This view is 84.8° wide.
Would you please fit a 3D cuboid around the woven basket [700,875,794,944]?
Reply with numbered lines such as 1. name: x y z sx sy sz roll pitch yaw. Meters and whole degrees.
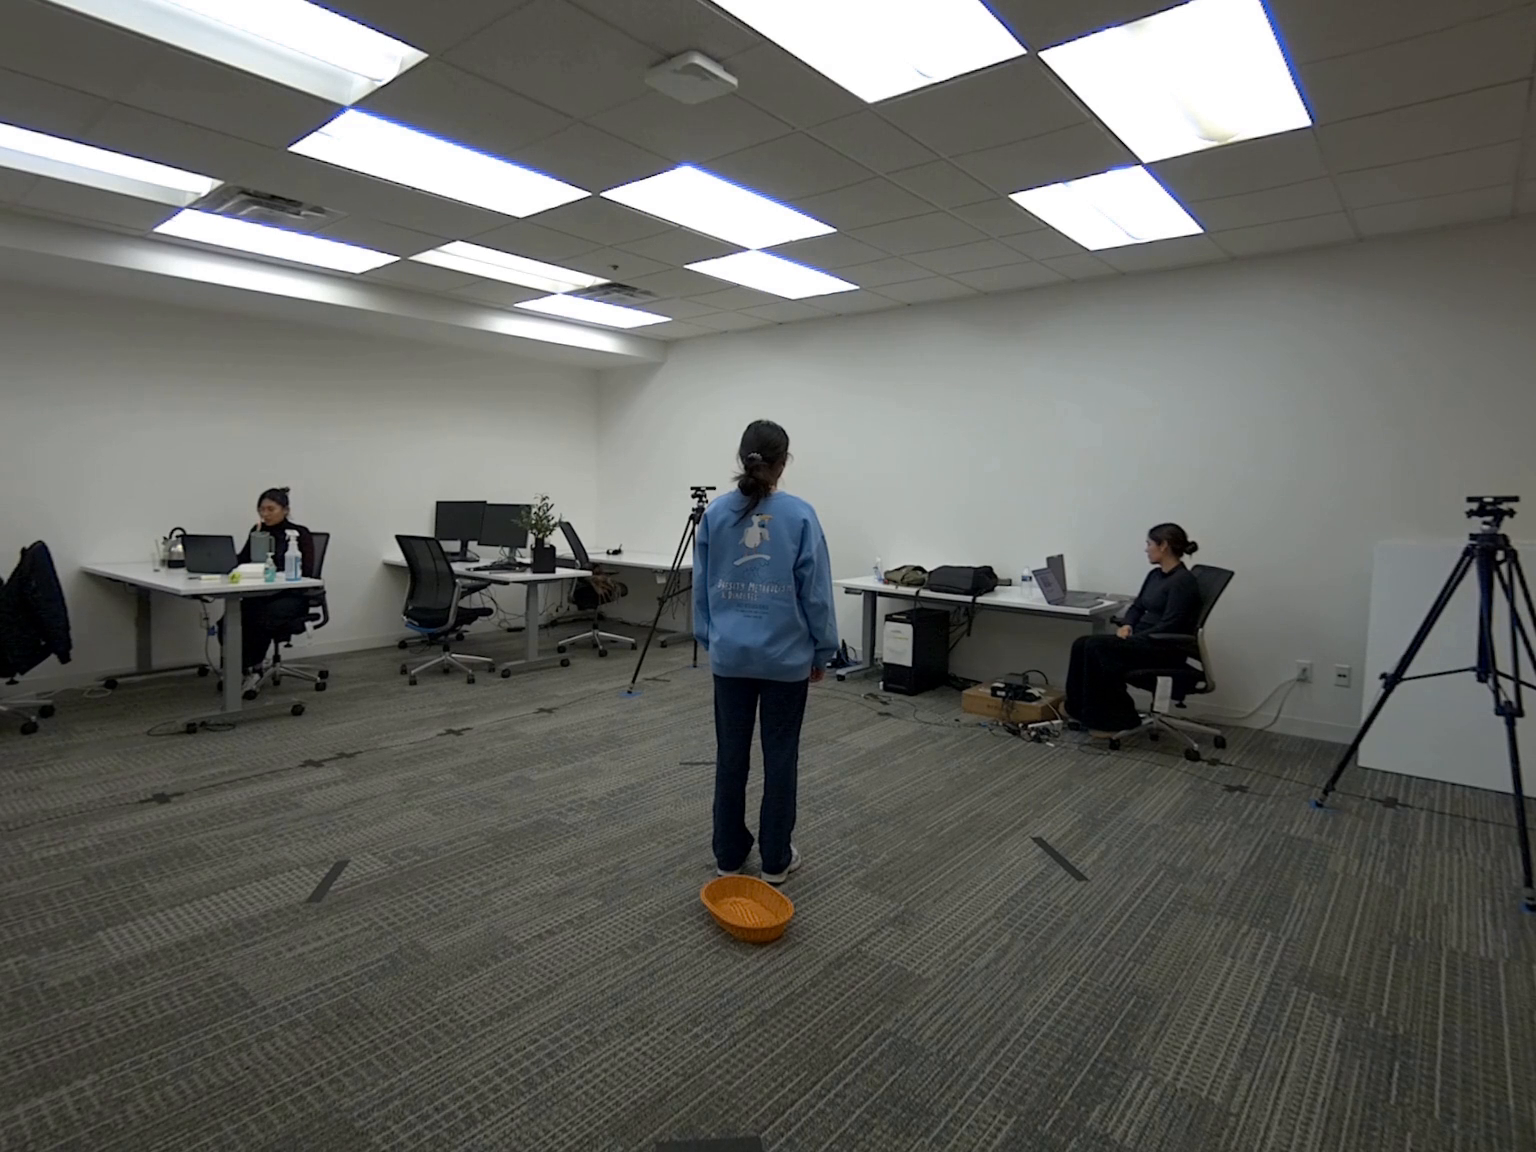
1. woven basket: -0.077 1.067 2.730 0.246 0.073 0.361 -3 7 -31
